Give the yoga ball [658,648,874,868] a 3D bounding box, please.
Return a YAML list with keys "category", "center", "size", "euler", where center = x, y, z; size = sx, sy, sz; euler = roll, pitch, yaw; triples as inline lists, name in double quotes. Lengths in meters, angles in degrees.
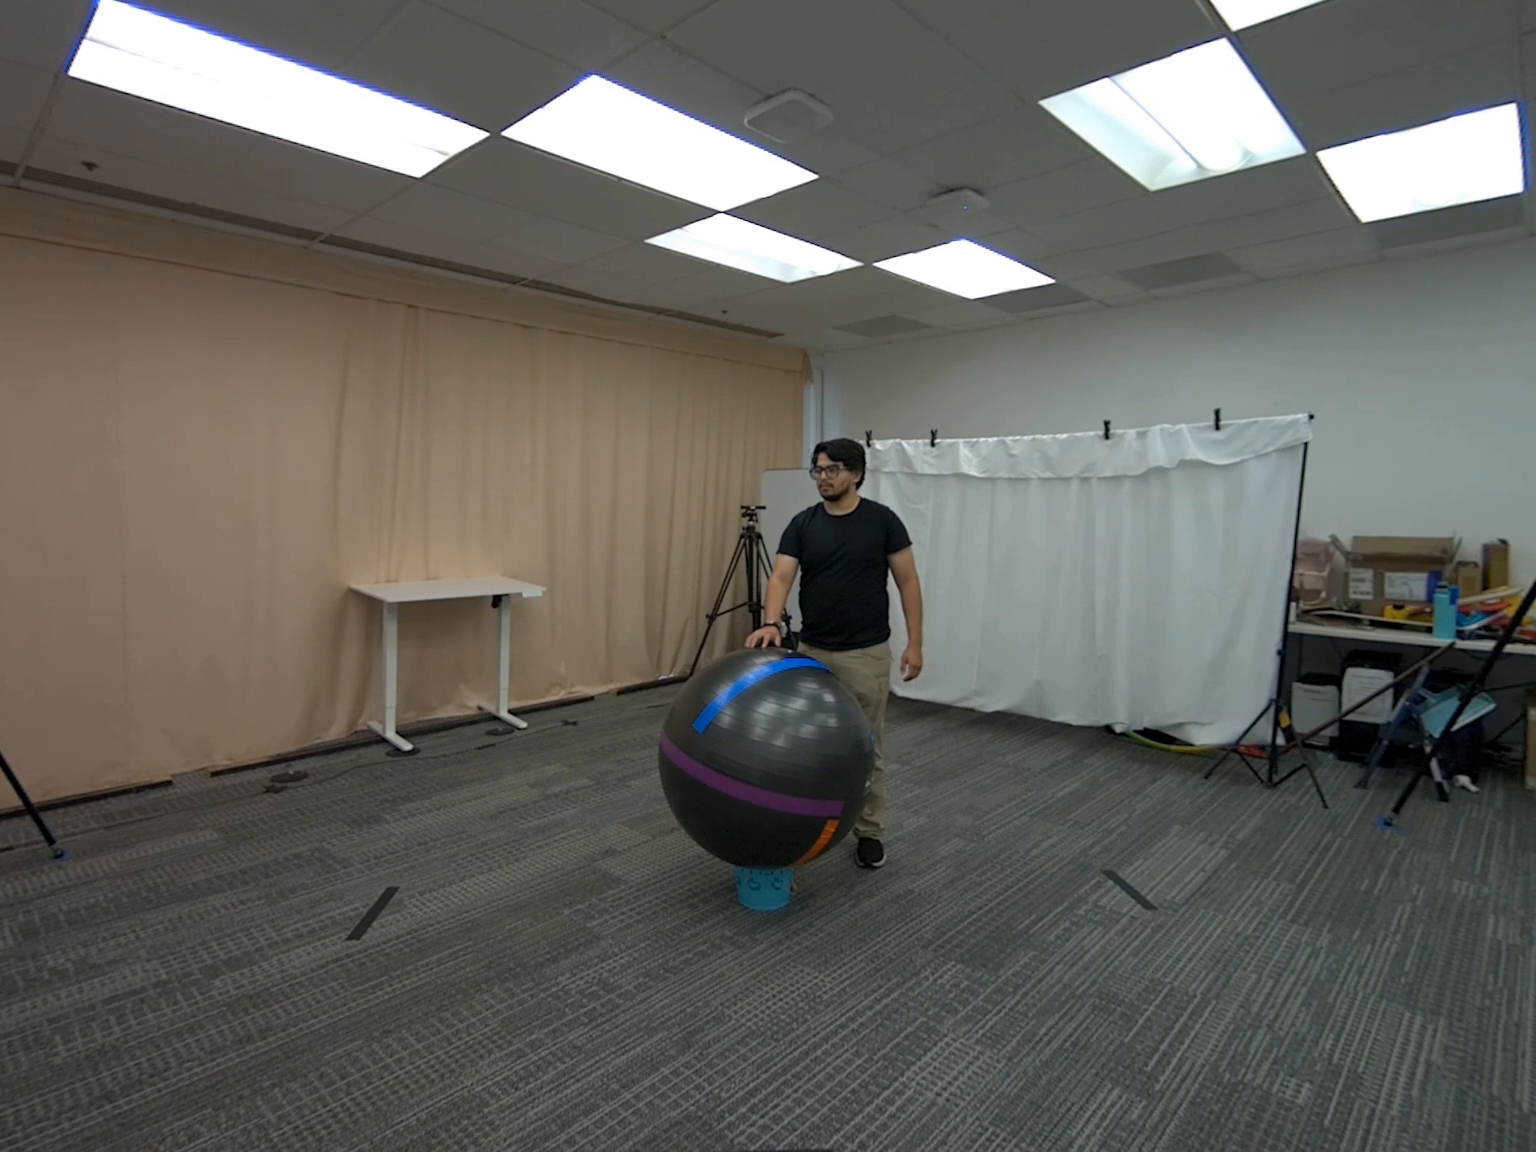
- category: "yoga ball"
  center: [0.004, 0.636, 2.963]
  size: [0.757, 0.756, 0.760]
  euler: [0, 4, -2]
